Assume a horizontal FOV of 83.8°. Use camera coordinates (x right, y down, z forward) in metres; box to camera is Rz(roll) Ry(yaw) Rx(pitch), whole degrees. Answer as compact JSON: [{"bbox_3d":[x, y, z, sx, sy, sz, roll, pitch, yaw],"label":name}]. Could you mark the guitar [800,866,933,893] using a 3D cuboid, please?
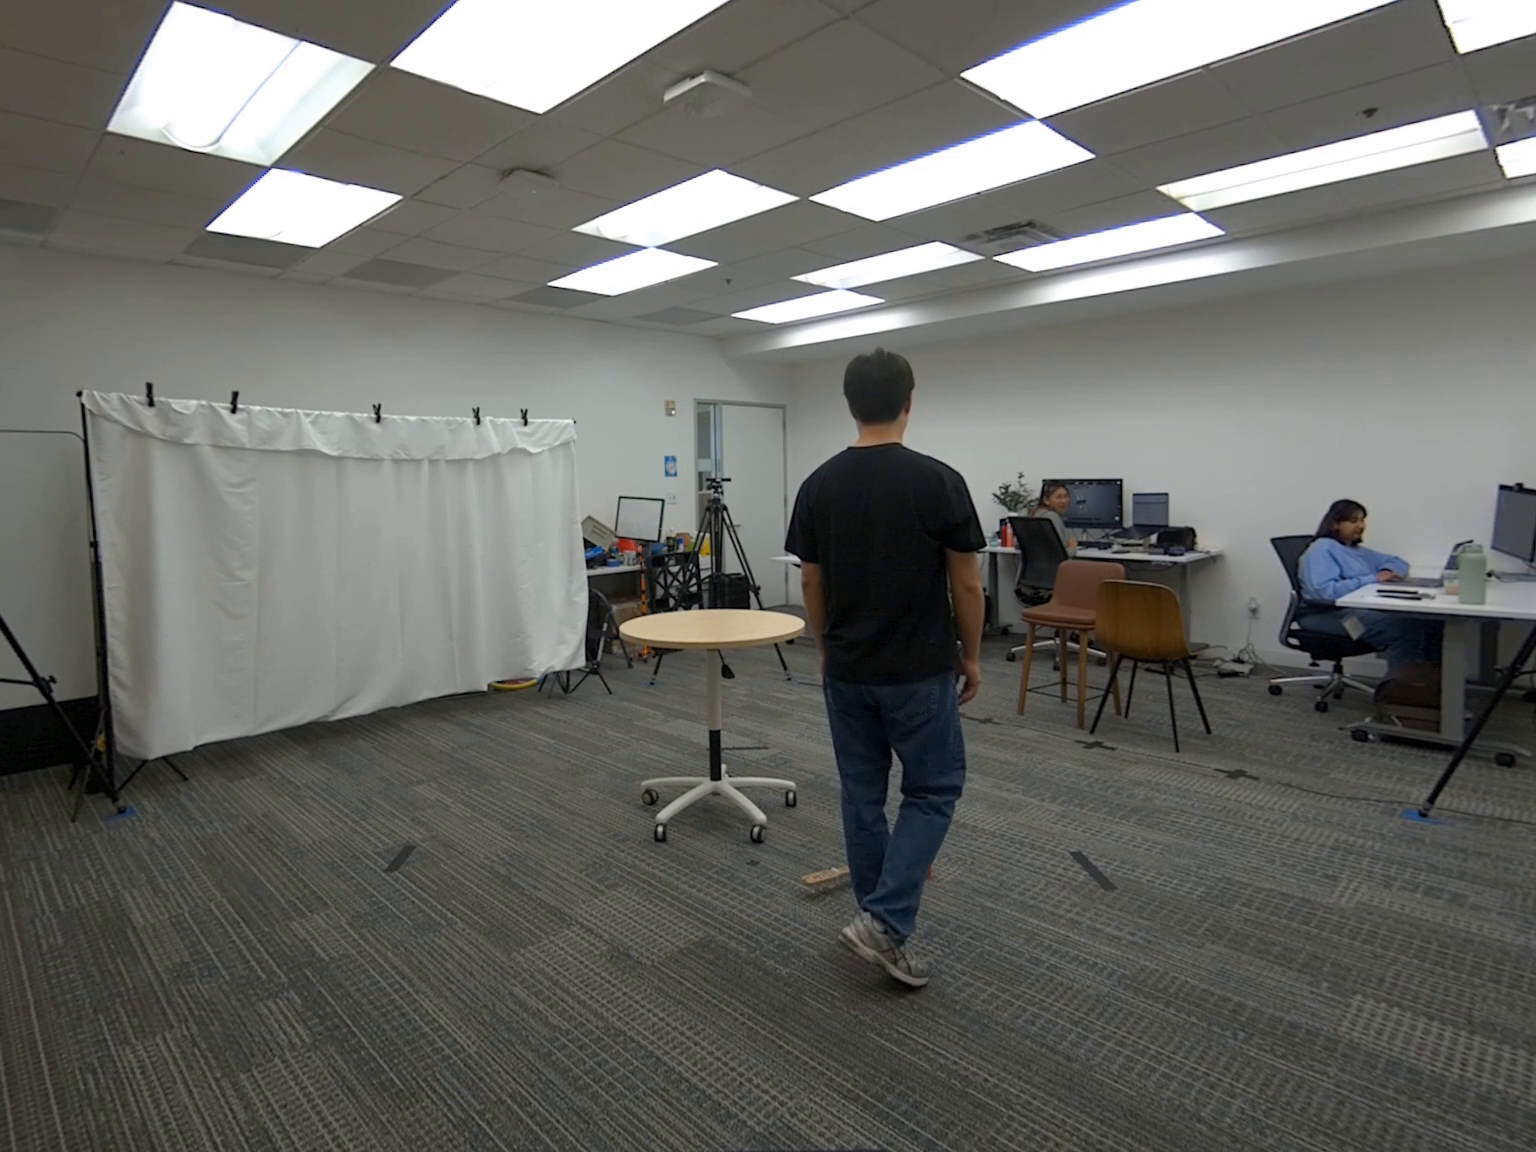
[{"bbox_3d":[0.331,1.019,2.972,0.489,0.070,0.197,-3,7,-19],"label":"guitar"}]
